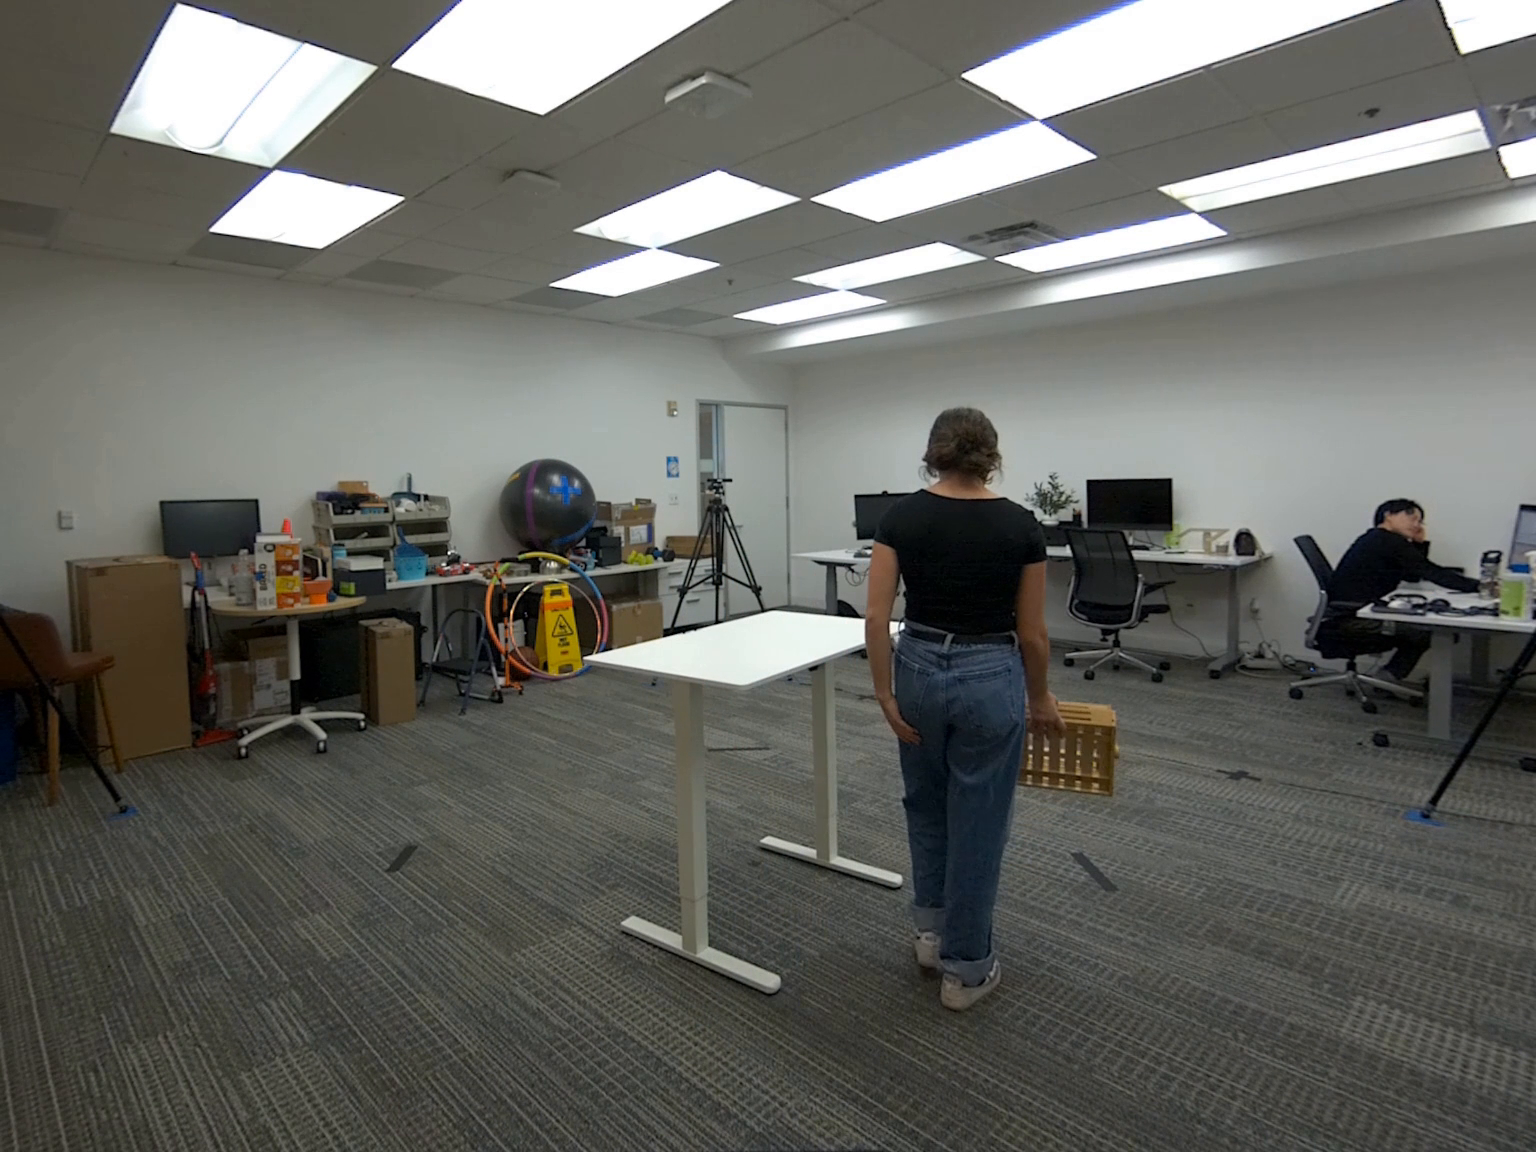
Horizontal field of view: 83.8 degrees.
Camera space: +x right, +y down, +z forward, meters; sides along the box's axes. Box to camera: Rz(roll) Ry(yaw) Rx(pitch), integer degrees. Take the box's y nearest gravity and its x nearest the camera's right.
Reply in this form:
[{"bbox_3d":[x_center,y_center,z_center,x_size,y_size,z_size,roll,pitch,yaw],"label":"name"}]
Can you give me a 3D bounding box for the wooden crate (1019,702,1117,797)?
[{"bbox_3d":[0.858,0.468,2.498,0.331,0.296,0.274,4,24,19],"label":"wooden crate"}]
